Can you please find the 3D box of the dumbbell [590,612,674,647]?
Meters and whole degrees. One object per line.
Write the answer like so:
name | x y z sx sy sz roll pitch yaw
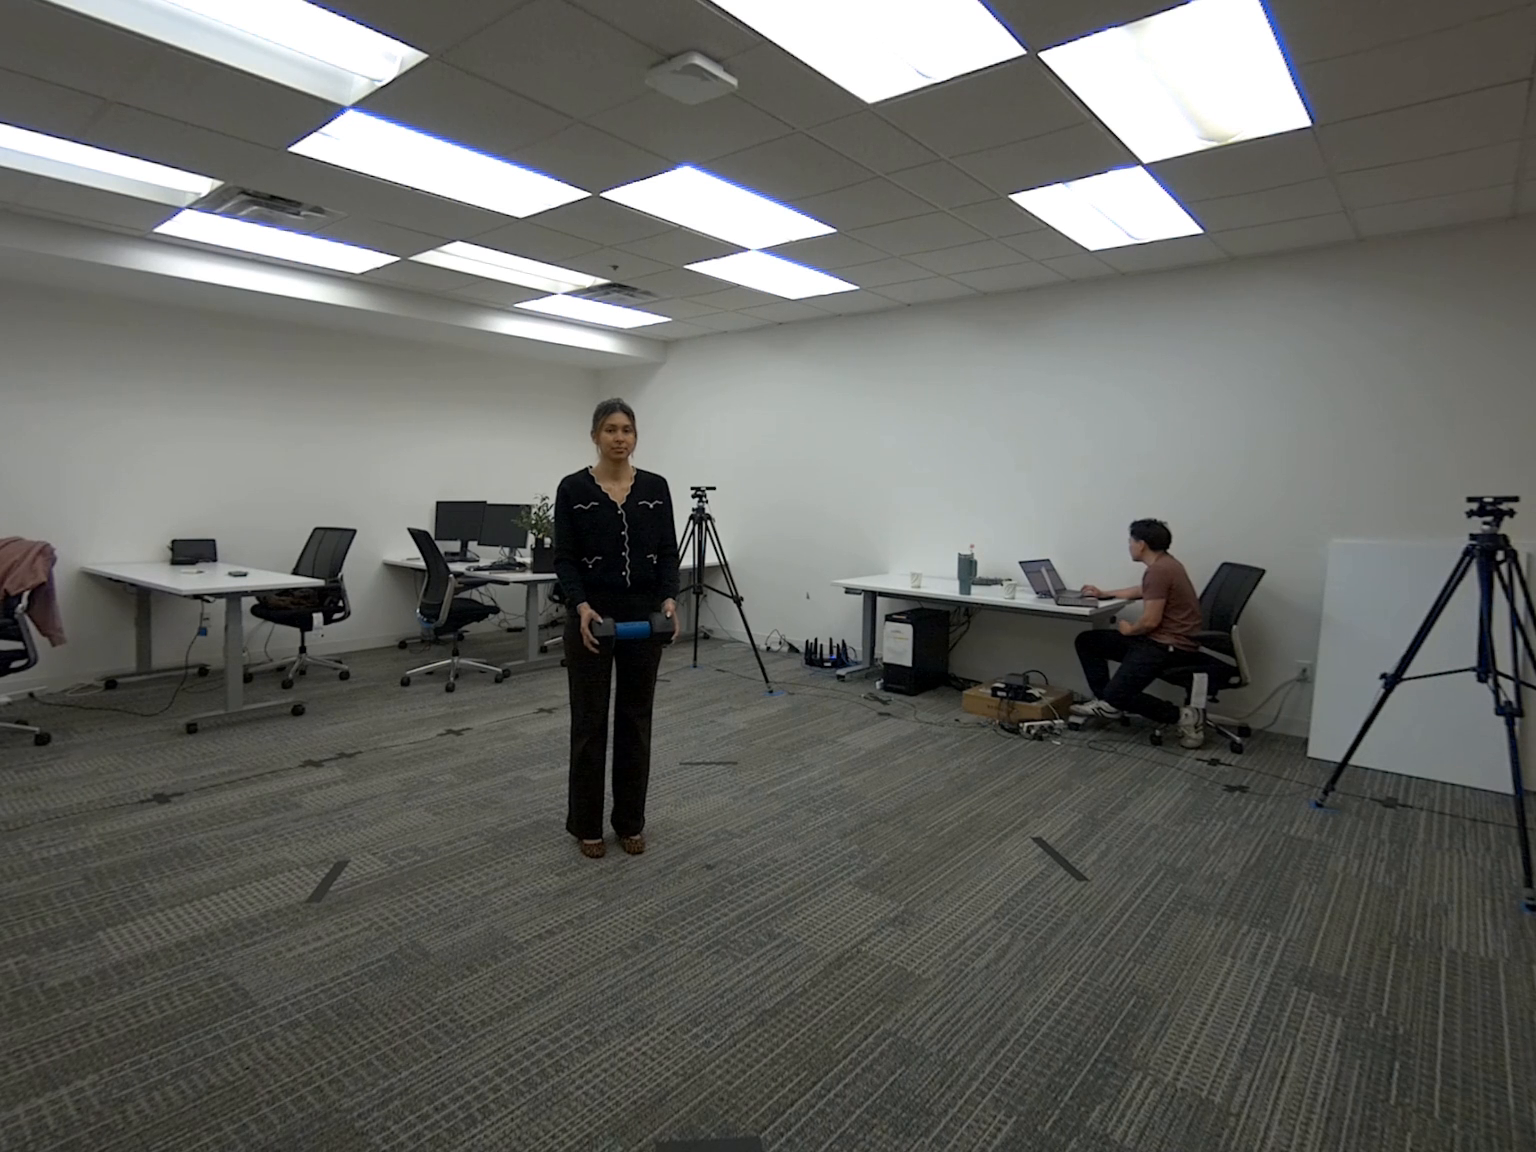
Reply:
dumbbell | -0.514 0.178 3.002 0.290 0.125 0.108 -1 -19 -12
